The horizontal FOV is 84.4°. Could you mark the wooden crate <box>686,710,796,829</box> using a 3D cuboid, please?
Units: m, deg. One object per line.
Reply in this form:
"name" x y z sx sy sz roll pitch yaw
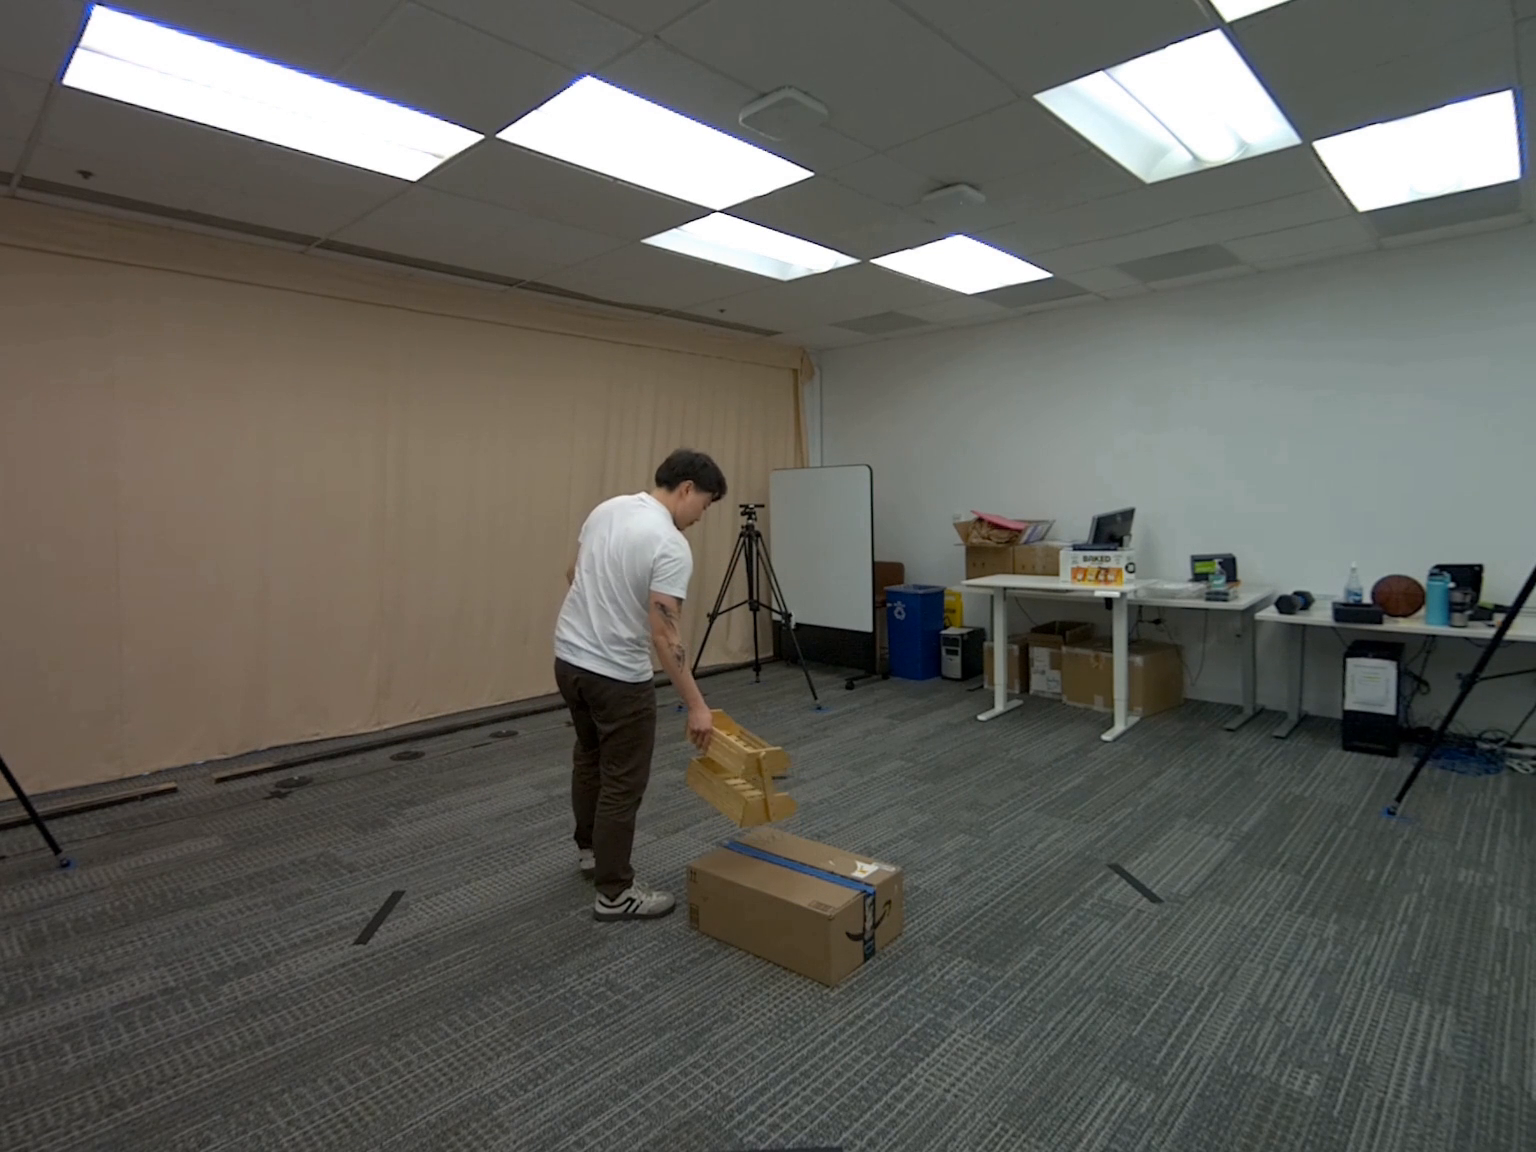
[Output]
"wooden crate" -0.069 0.625 2.784 0.292 0.272 0.336 5 12 -41
